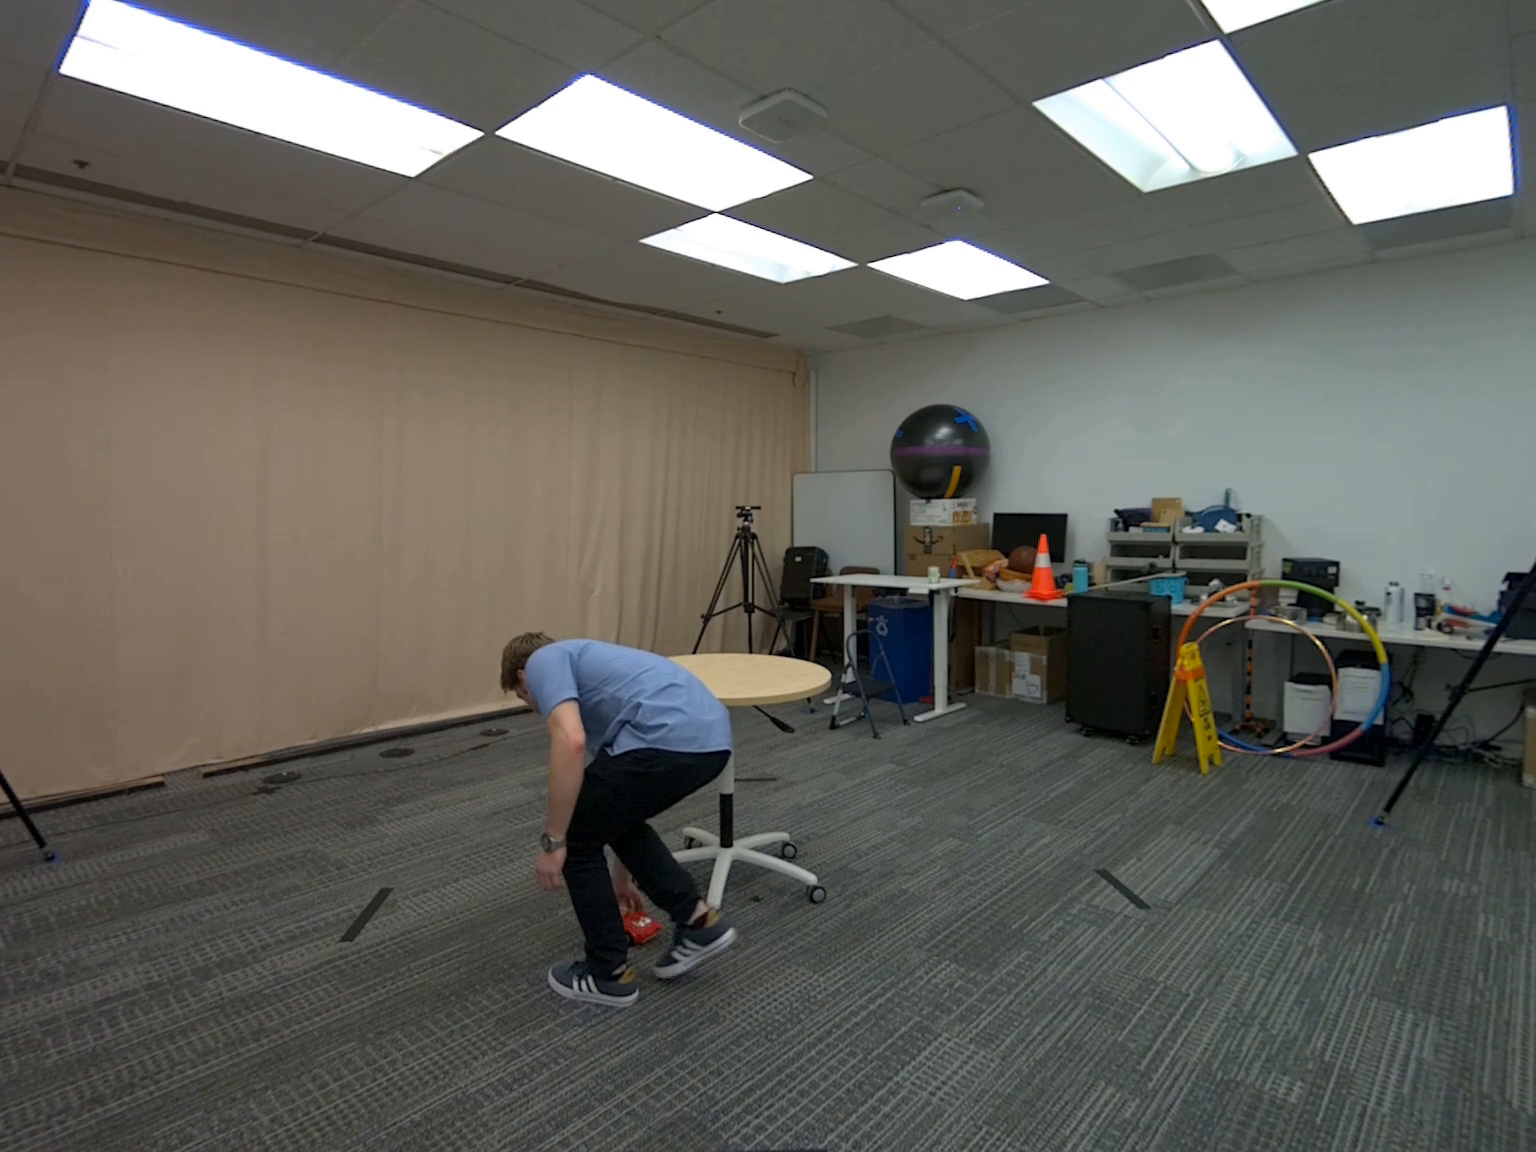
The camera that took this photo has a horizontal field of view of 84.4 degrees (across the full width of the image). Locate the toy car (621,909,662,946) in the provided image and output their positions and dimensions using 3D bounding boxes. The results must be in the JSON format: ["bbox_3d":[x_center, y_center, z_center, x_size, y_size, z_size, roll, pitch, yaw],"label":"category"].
[{"bbox_3d":[-0.454,1.144,2.732,0.261,0.083,0.126,-11,-4,37],"label":"toy car"}]
